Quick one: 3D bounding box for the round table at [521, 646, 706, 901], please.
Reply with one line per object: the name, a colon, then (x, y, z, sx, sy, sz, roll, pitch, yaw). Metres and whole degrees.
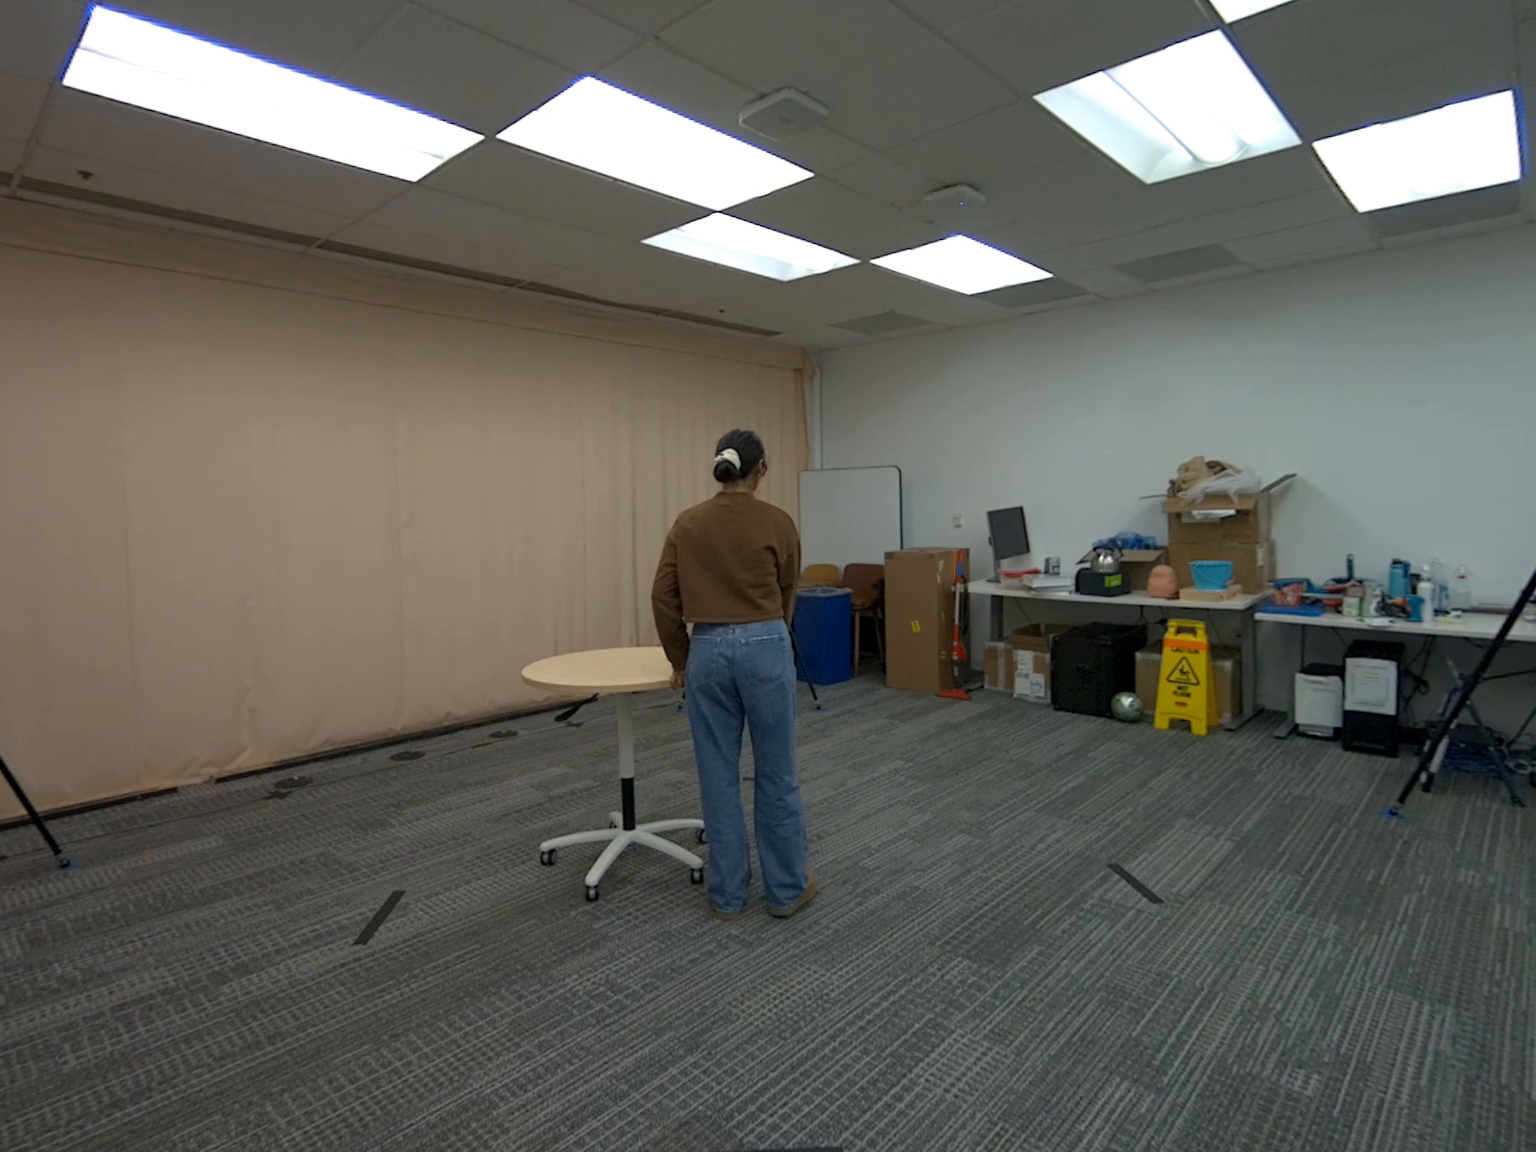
round table: (-0.529, 0.731, 3.283, 0.784, 0.784, 0.788, -2, 4, -2)
